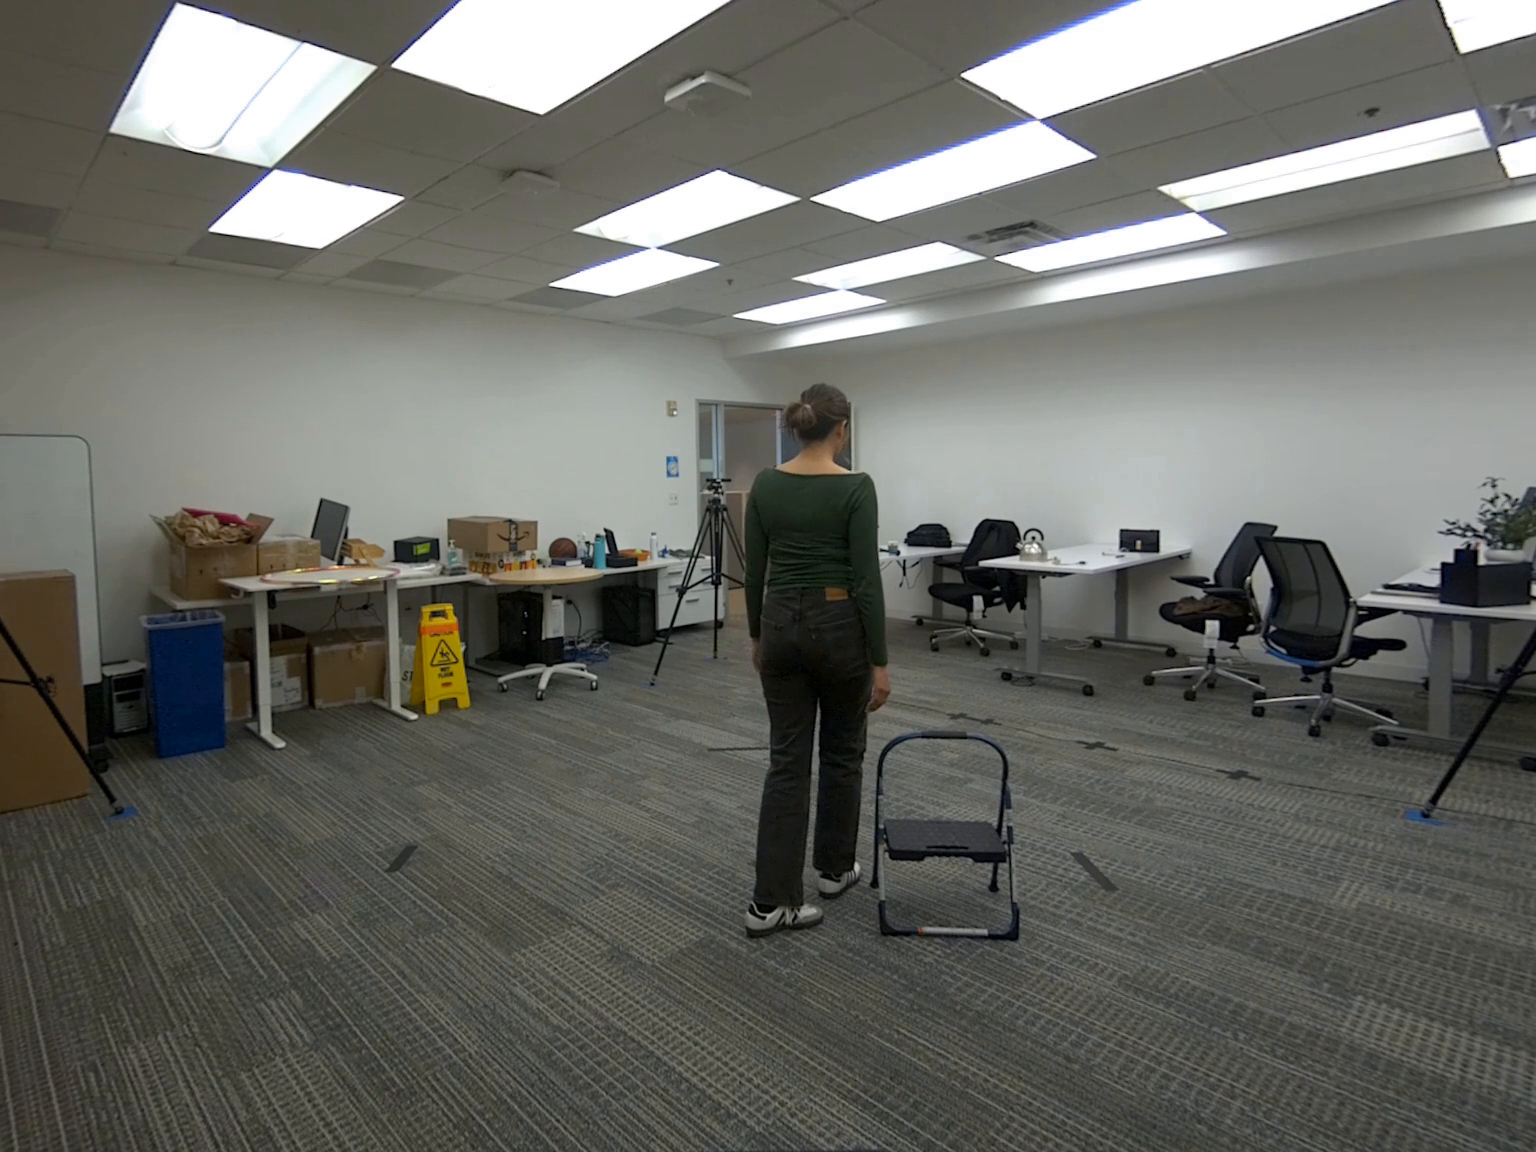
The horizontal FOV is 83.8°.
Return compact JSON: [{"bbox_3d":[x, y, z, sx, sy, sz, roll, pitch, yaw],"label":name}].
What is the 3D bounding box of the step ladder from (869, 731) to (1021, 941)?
[{"bbox_3d":[0.553,0.771,2.721,0.432,0.604,0.349,-1,4,4],"label":"step ladder"}]
